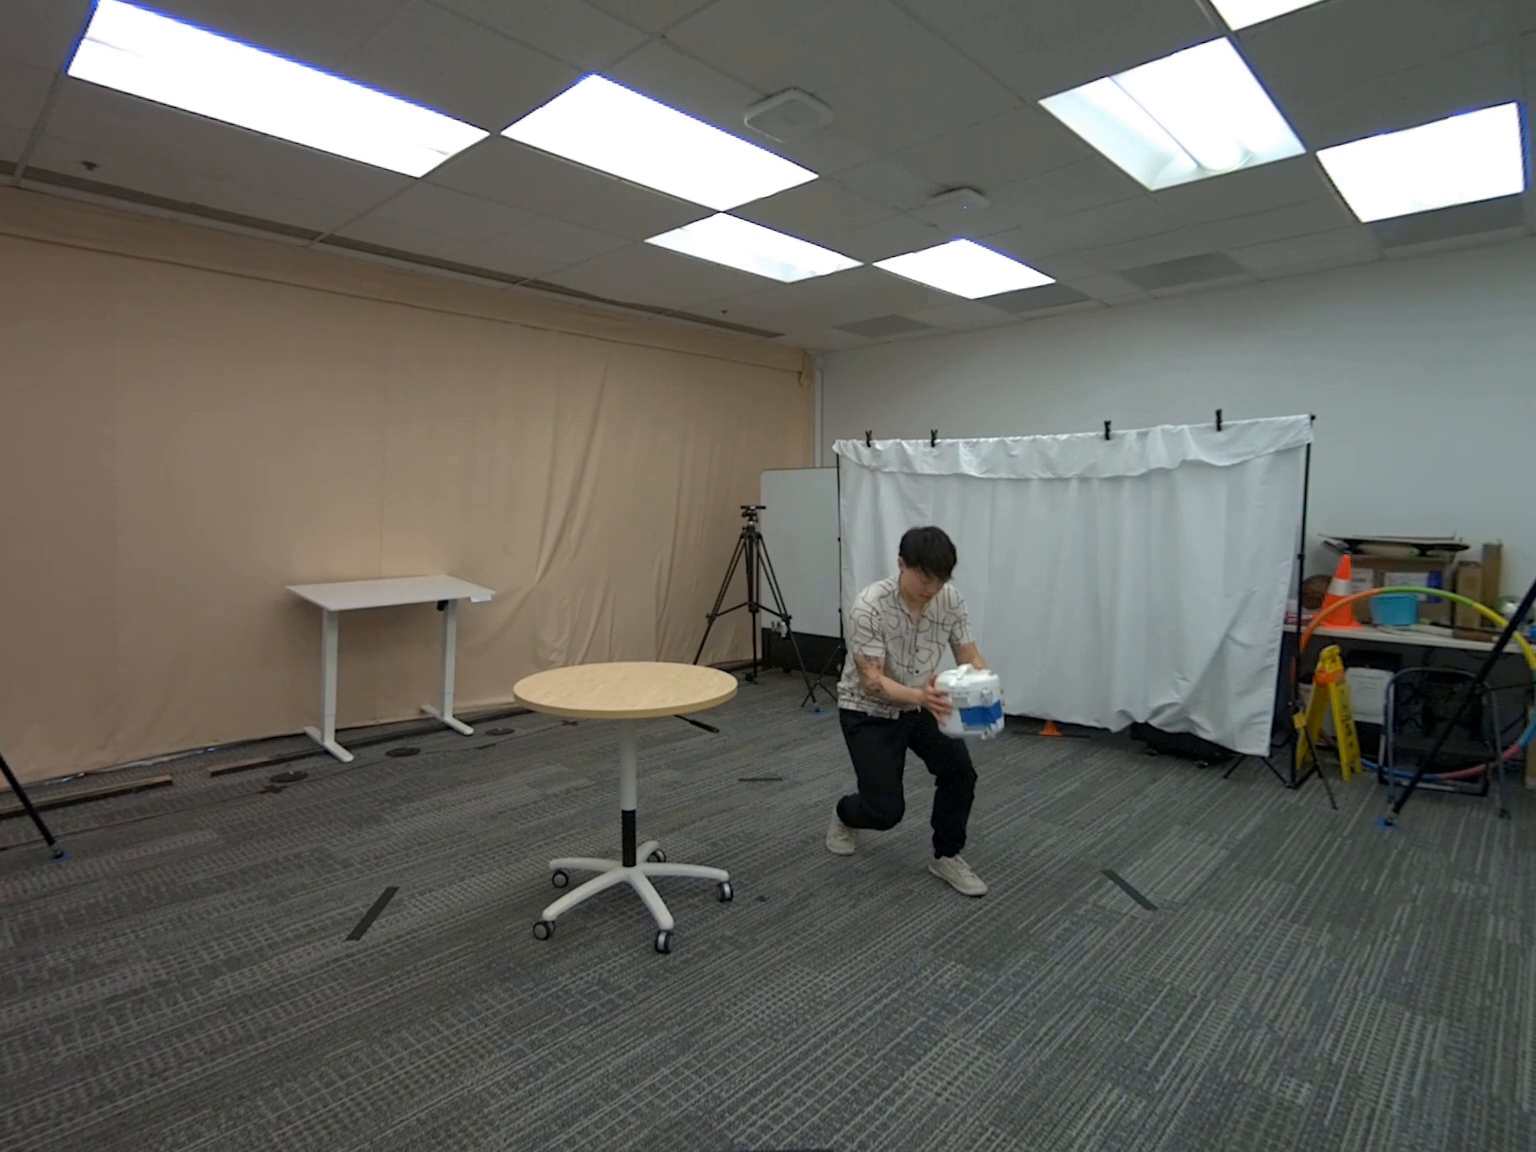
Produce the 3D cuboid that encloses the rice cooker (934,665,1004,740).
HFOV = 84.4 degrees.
[{"bbox_3d":[0.669,0.409,2.803,0.223,0.233,0.215,-4,0,28],"label":"rice cooker"}]
